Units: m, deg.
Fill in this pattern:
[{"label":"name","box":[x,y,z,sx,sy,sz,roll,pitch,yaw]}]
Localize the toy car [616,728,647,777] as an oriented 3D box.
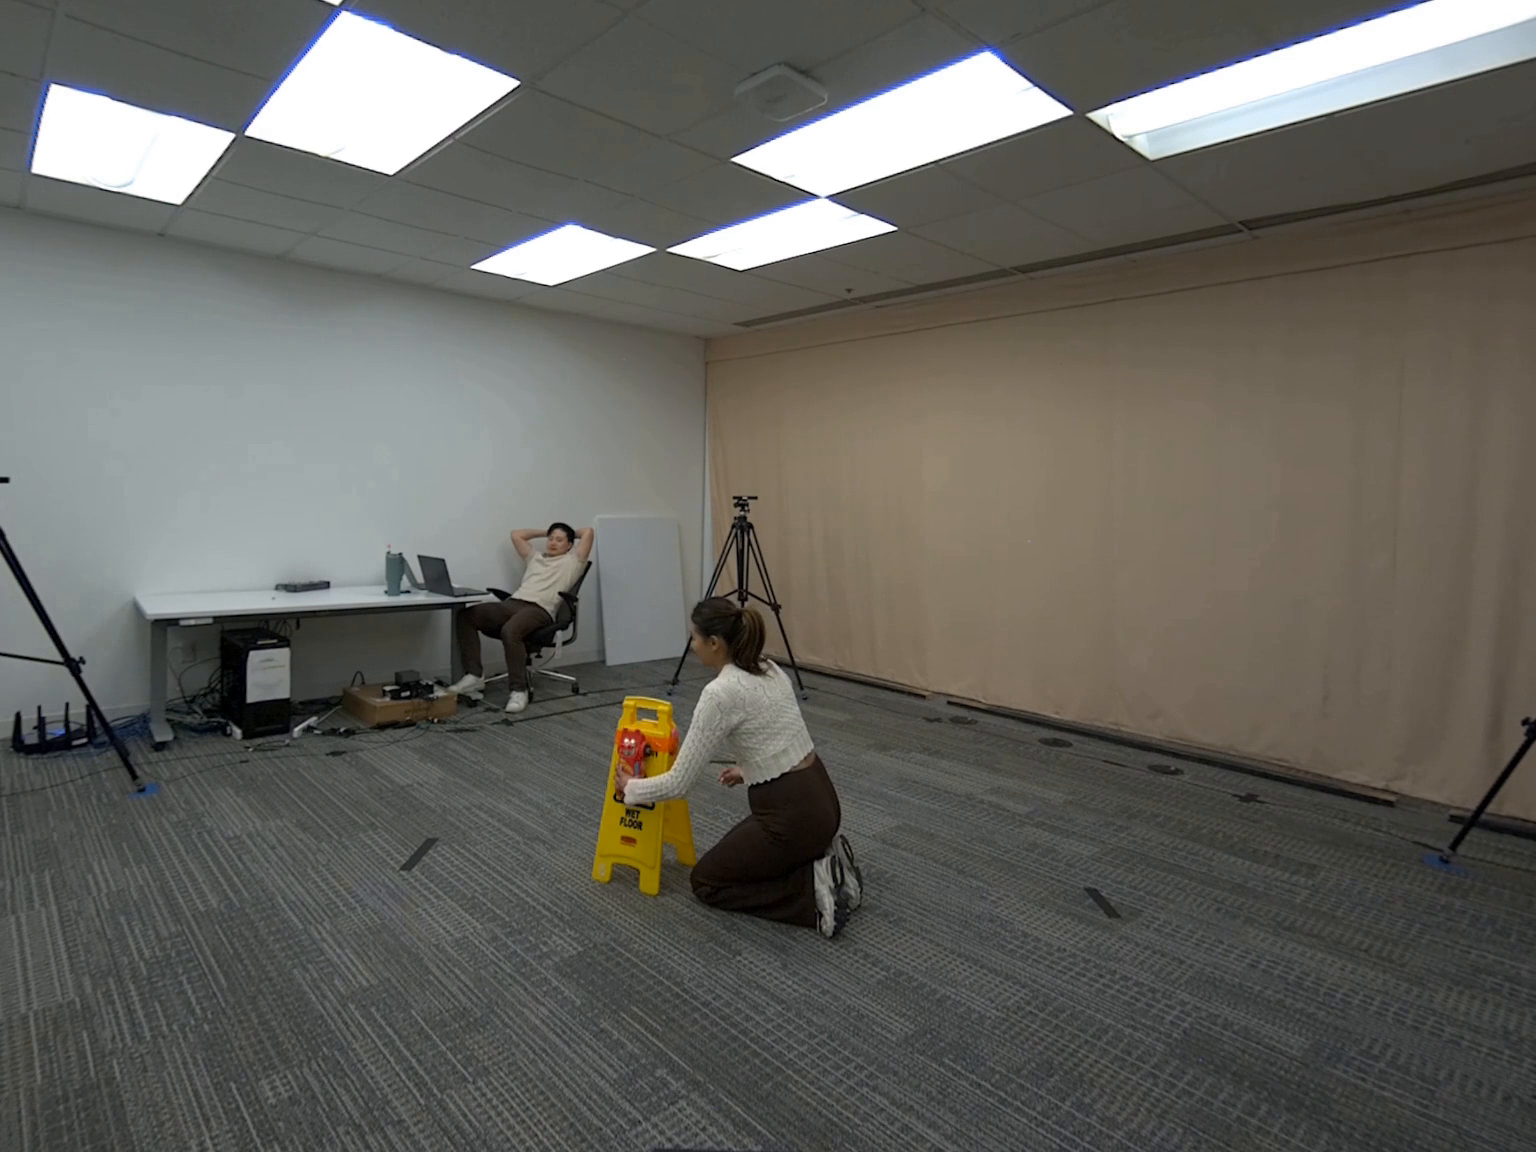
[{"label":"toy car","box":[-0.490,0.672,3.012,0.132,0.254,0.082,1,5,21]}]
